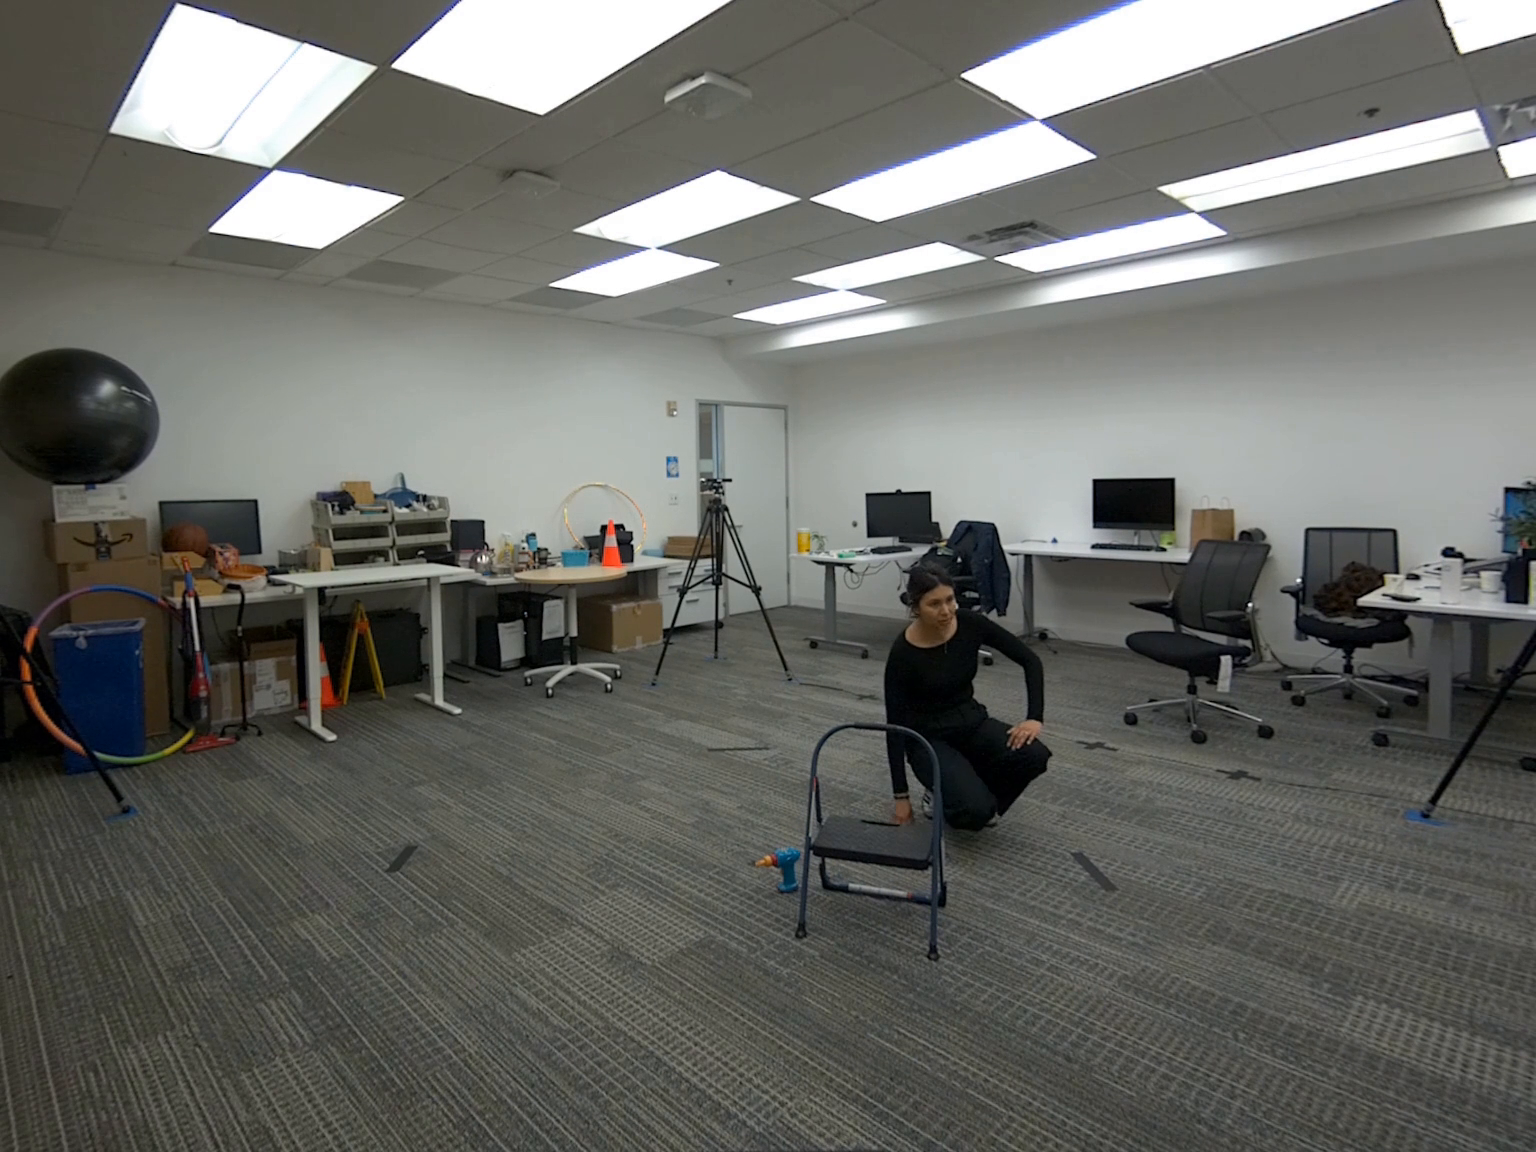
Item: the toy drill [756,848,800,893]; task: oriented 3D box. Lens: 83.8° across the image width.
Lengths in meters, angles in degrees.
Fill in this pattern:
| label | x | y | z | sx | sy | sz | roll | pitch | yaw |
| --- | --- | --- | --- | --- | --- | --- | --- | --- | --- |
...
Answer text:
| label | x | y | z | sx | sy | sz | roll | pitch | yaw |
| --- | --- | --- | --- | --- | --- | --- | --- | --- | --- |
| toy drill | 0.040 | 0.999 | 2.887 | 0.166 | 0.145 | 0.062 | -5 | 5 | -24 |
